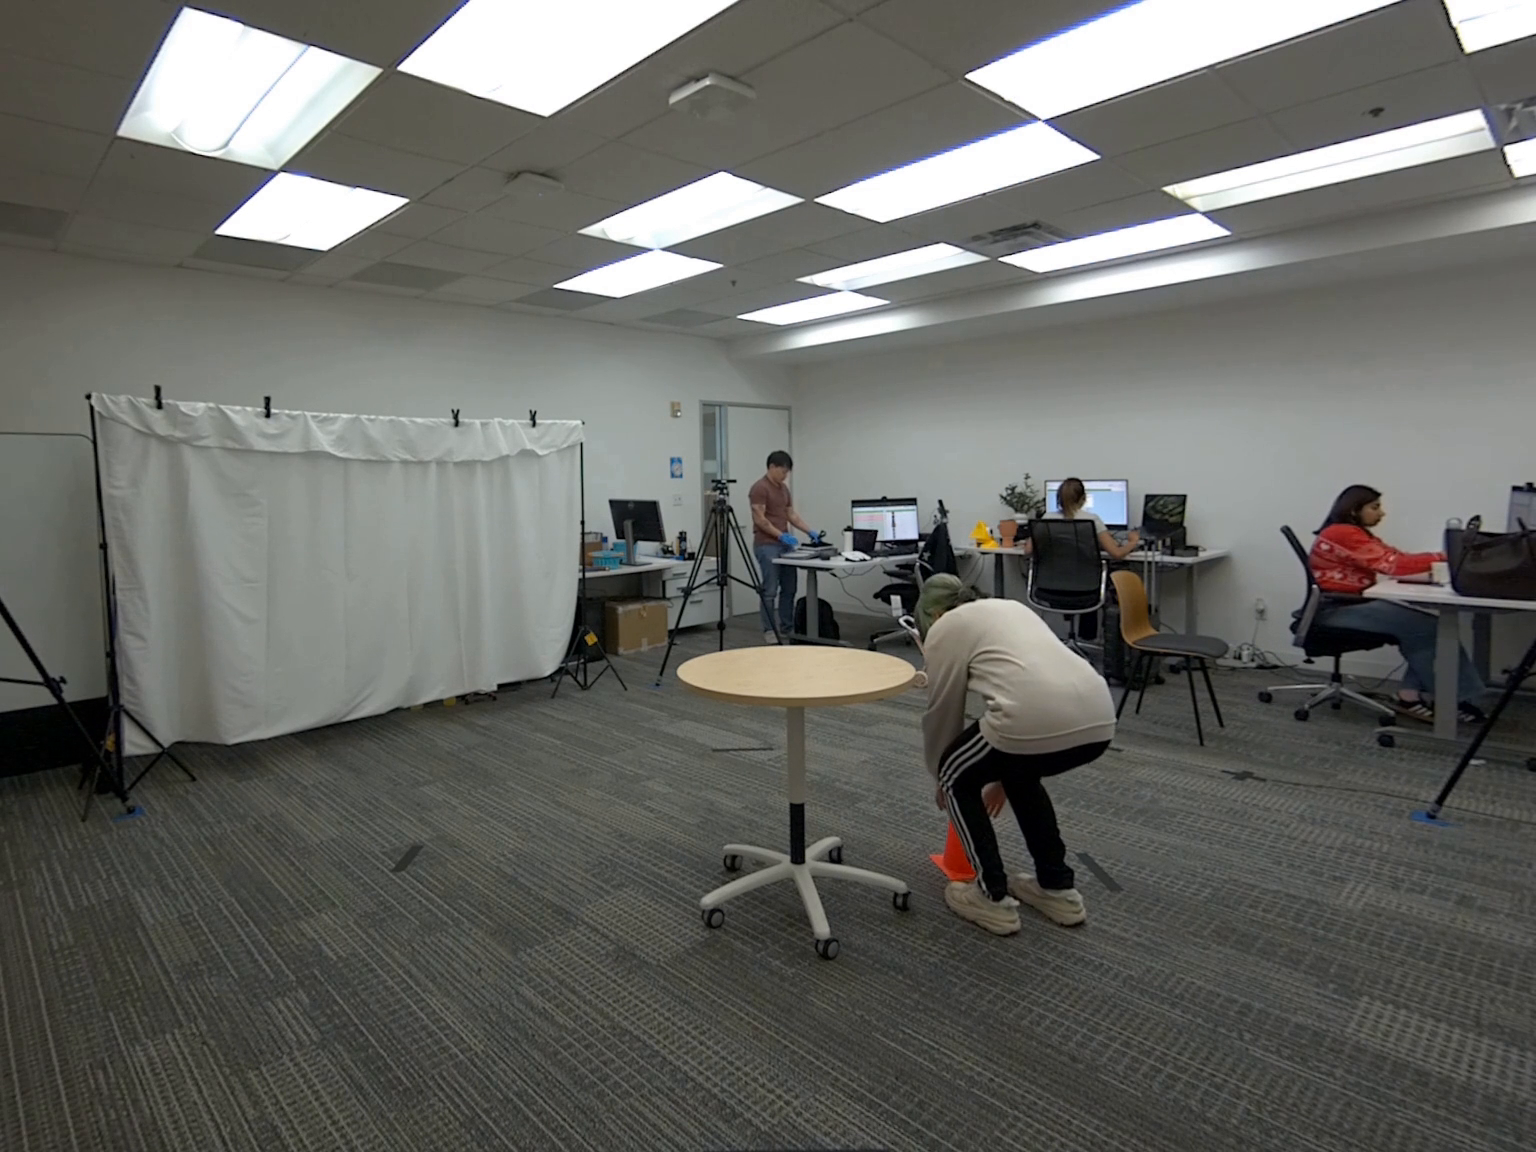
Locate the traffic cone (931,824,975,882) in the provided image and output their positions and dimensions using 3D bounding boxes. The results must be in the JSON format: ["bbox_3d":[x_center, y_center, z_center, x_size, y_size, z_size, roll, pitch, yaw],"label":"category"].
[{"bbox_3d":[0.716,0.853,3.047,0.203,0.382,0.206,-1,4,-9],"label":"traffic cone"}]
